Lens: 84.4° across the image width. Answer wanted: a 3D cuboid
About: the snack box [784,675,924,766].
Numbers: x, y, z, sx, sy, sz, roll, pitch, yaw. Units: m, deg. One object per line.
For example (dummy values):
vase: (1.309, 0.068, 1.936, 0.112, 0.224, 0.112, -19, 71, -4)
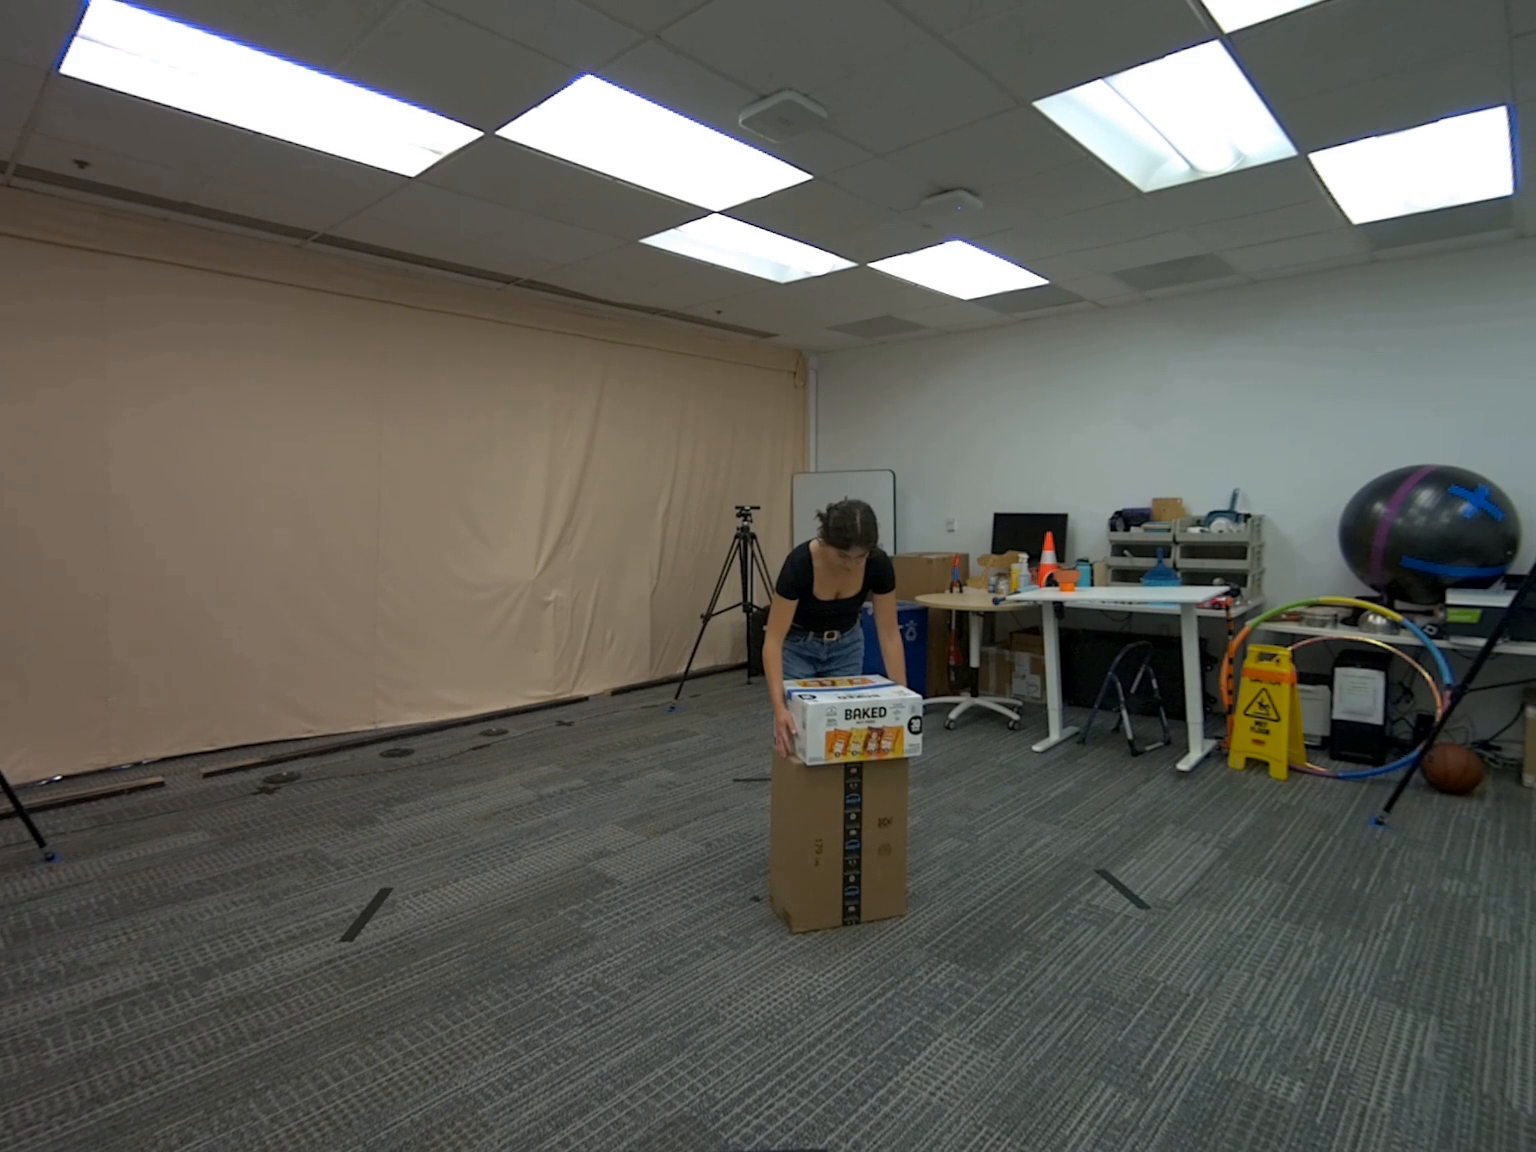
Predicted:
snack box: (0.265, 0.481, 2.883, 0.399, 0.205, 0.347, -2, 4, -16)
